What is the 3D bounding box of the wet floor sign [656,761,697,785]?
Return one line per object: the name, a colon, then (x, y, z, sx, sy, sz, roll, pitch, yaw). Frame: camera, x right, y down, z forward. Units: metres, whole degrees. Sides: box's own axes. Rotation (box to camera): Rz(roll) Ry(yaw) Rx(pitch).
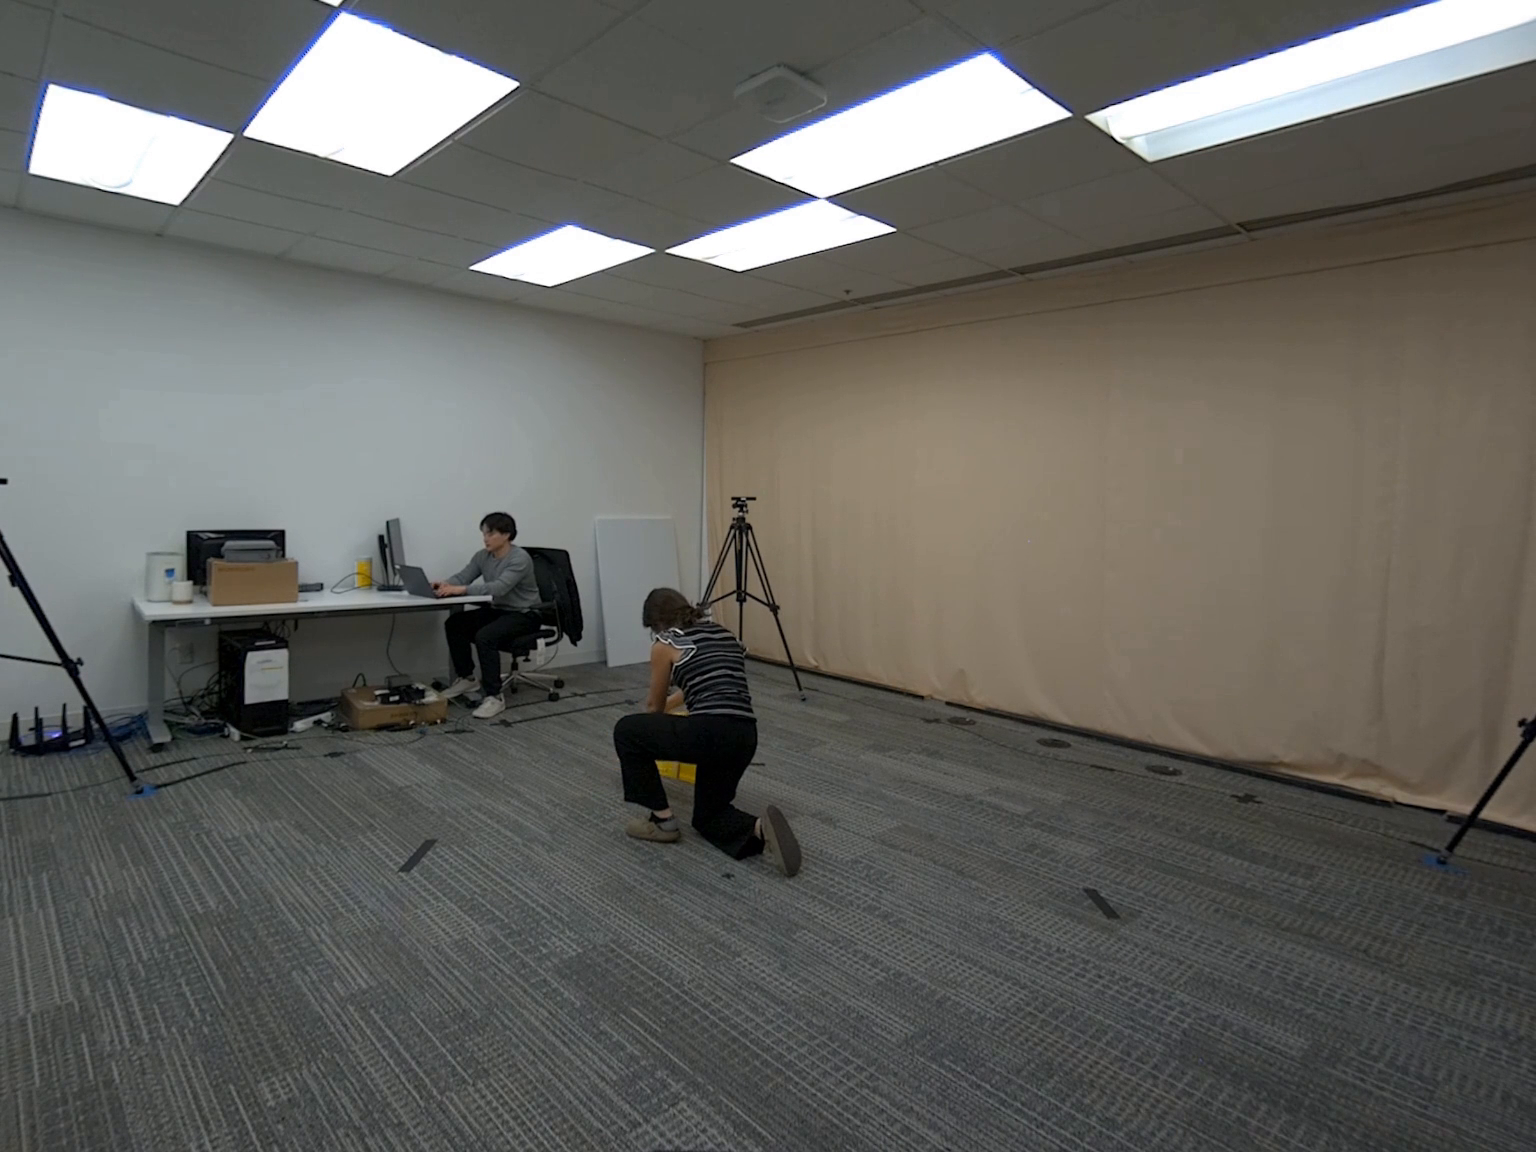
wet floor sign: (-0.509, 0.802, 3.942, 0.281, 0.284, 0.660, 24, -19, -38)
